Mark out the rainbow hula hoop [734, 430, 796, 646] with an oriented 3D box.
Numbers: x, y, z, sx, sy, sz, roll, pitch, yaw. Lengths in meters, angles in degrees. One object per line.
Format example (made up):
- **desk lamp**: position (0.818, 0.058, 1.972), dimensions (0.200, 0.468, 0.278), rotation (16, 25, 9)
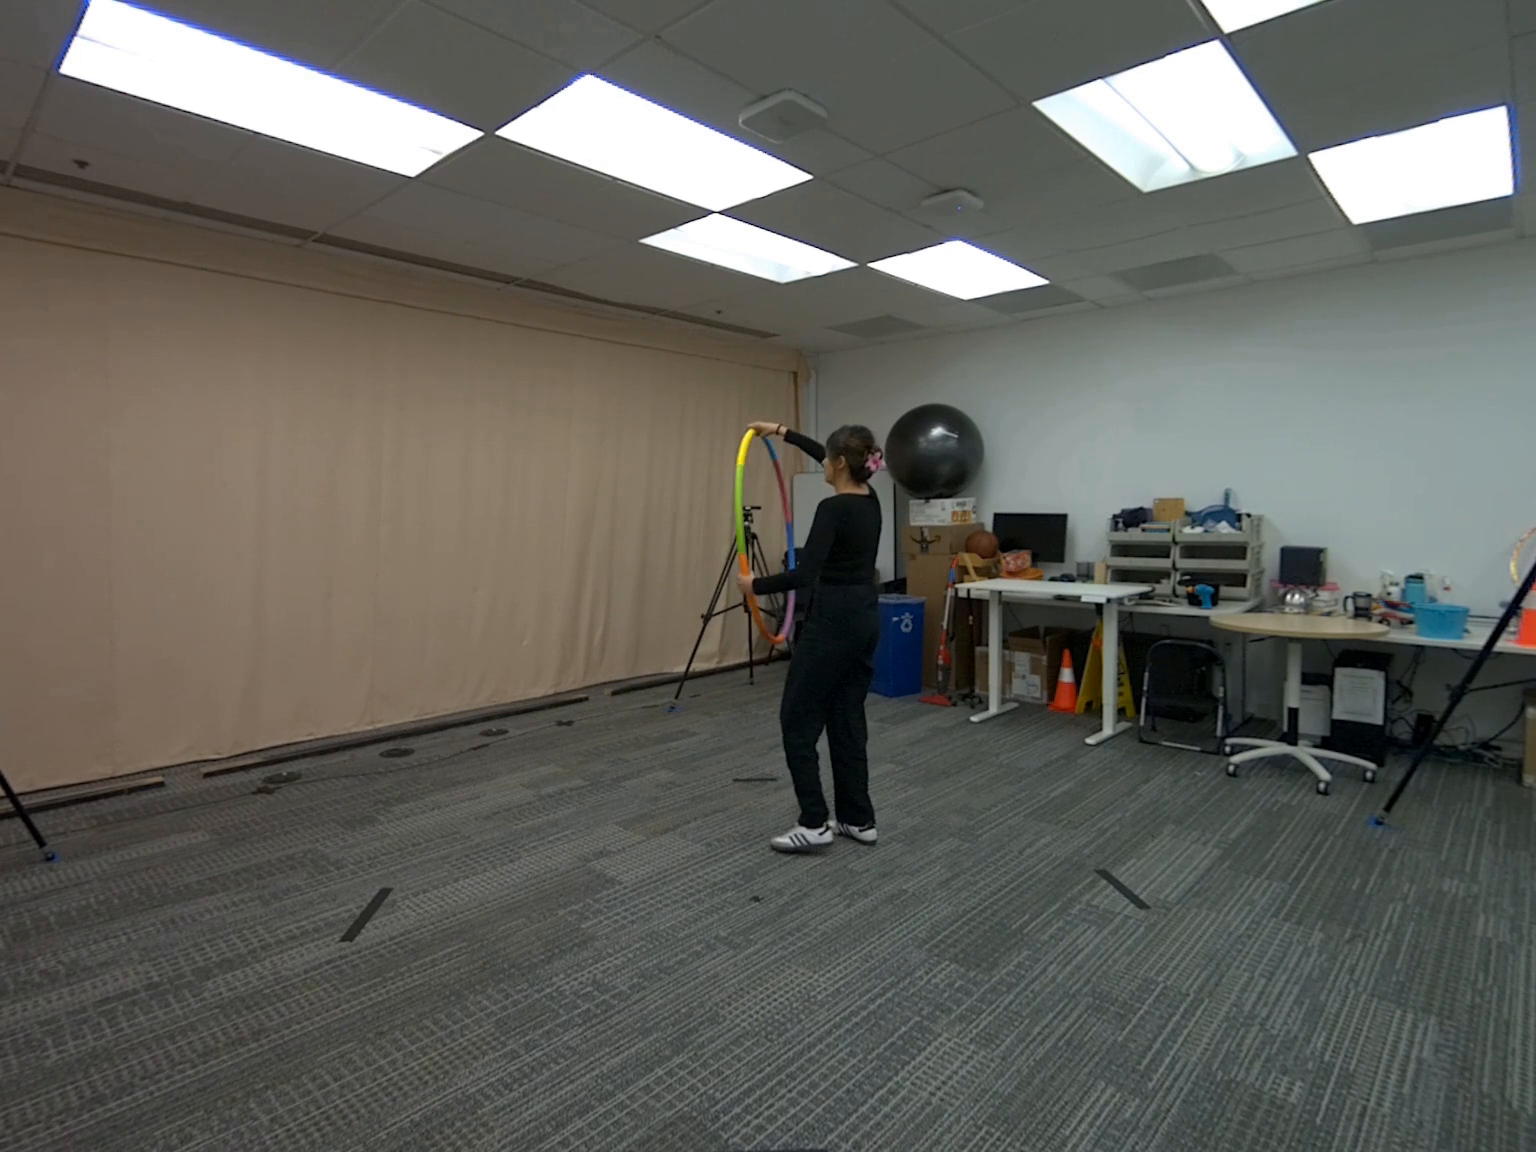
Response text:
- **rainbow hula hoop**: position (-0.001, -0.190, 3.853), dimensions (0.052, 0.984, 0.969), rotation (-6, 2, 16)
